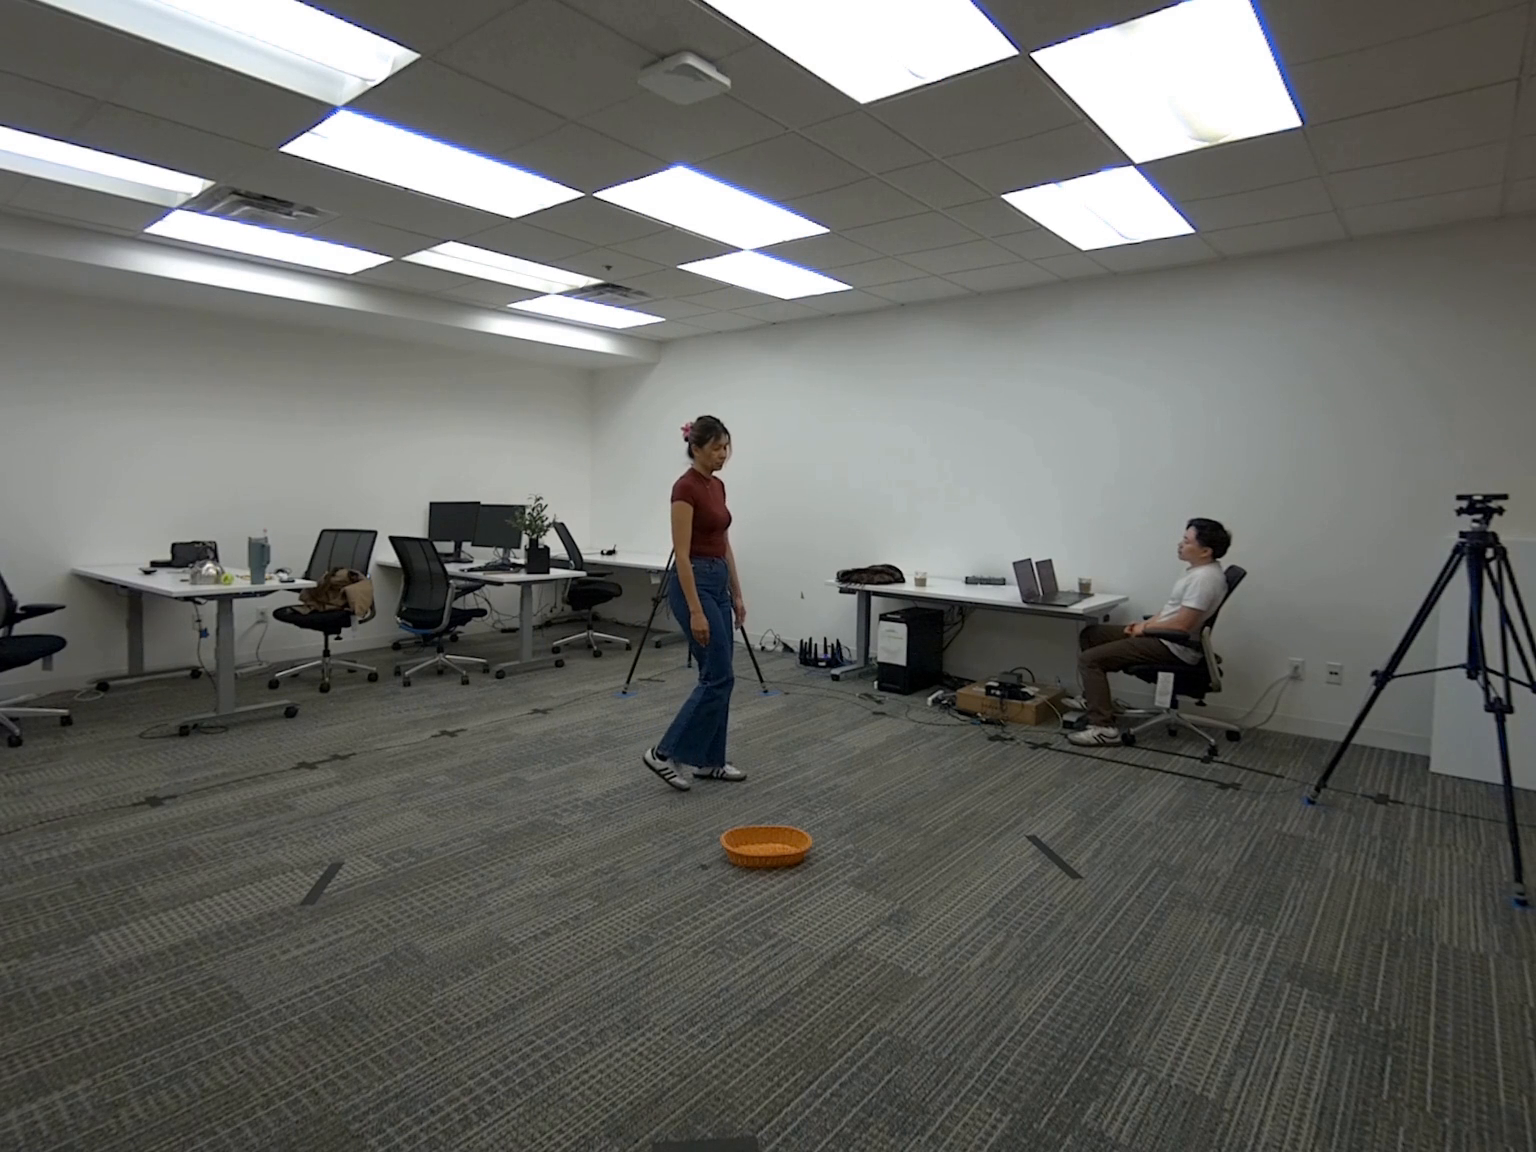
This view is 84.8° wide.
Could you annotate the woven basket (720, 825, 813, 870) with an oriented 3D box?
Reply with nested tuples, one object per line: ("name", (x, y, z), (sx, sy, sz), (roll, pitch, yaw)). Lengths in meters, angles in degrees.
("woven basket", (-0.019, 1.021, 3.206), (0.347, 0.073, 0.256), (0, 6, -9))
